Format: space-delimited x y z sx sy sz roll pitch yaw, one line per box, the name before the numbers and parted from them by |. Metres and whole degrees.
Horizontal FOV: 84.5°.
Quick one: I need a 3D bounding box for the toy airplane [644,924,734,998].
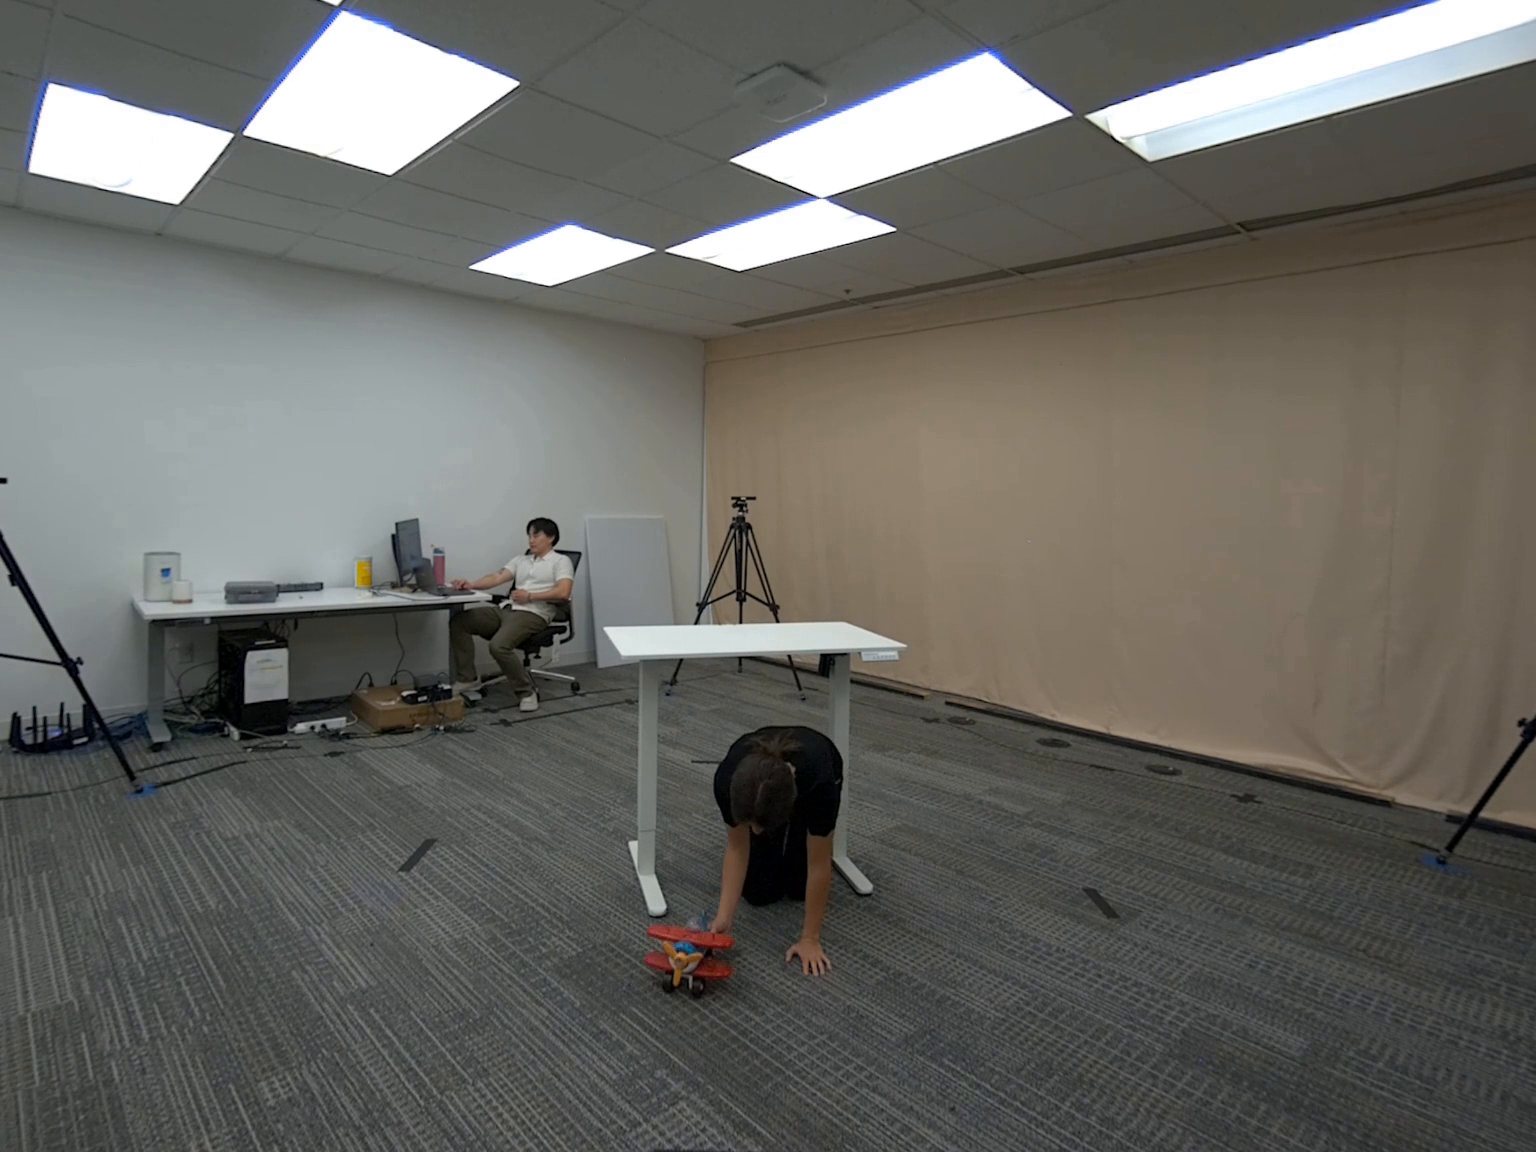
toy airplane | -0.241 1.086 2.429 0.248 0.155 0.264 -2 10 -15
